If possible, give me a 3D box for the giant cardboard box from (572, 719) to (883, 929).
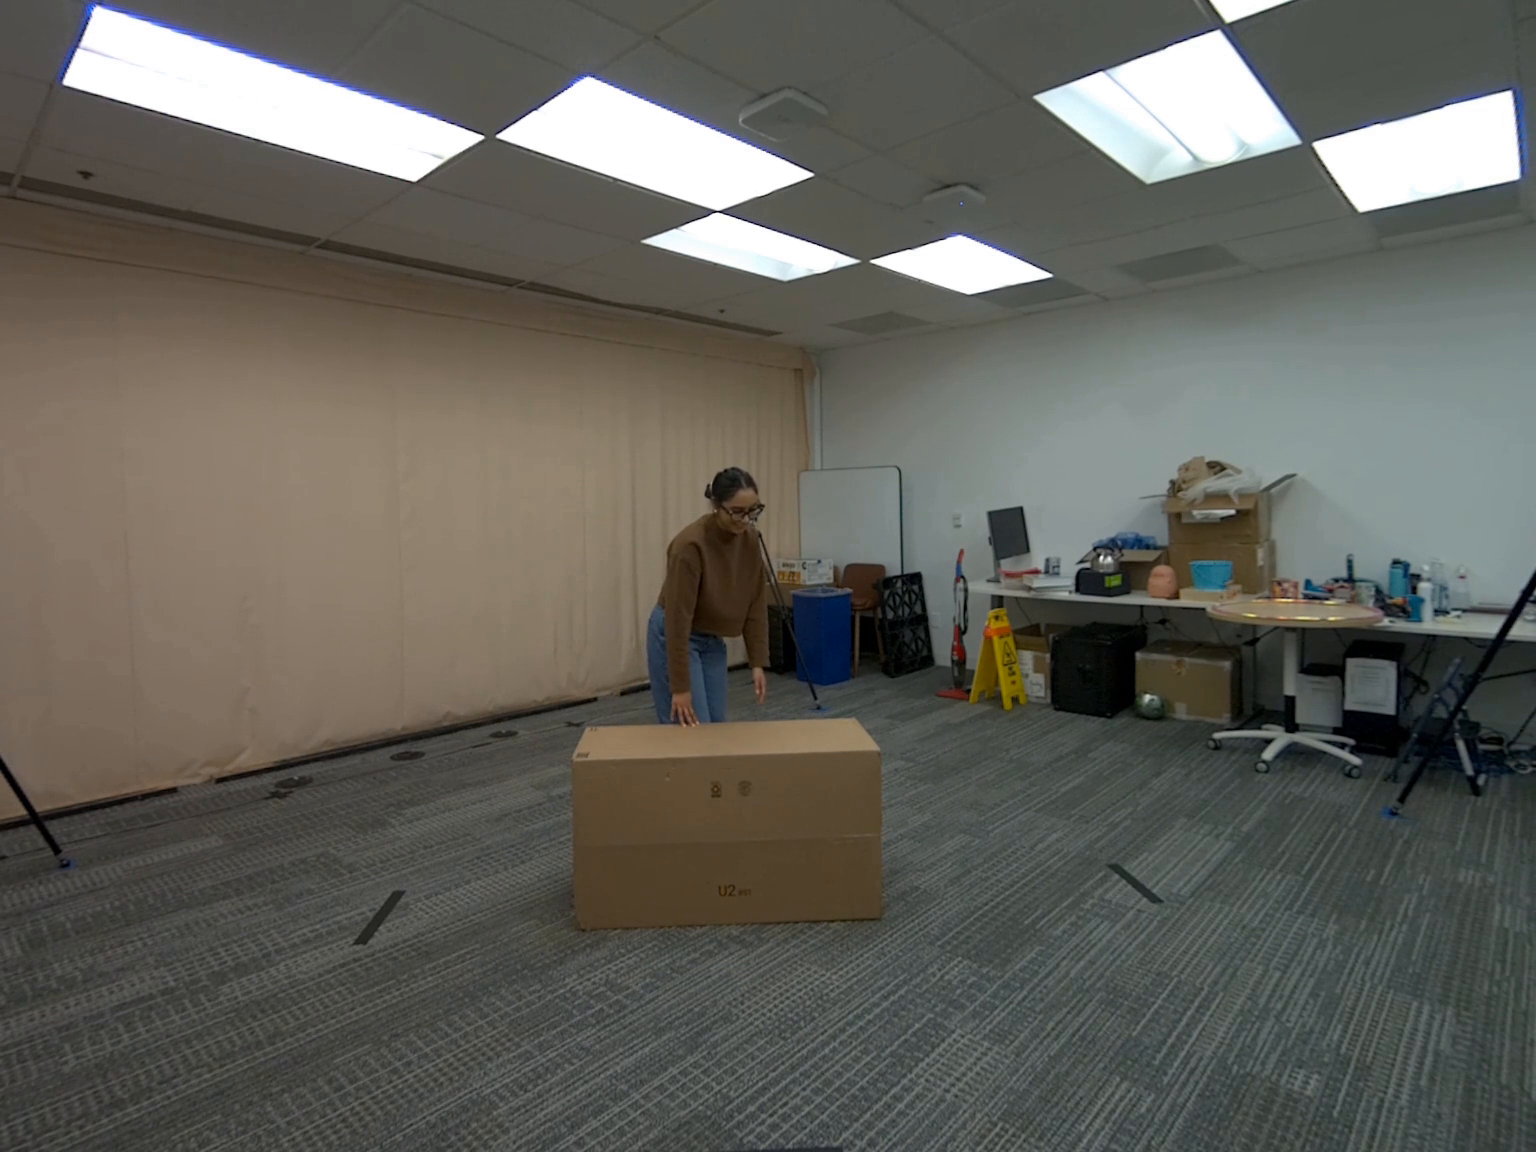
[{"bbox_3d":[-0.151,0.858,2.986,1.025,0.582,0.449,-1,5,-2],"label":"giant cardboard box"}]
